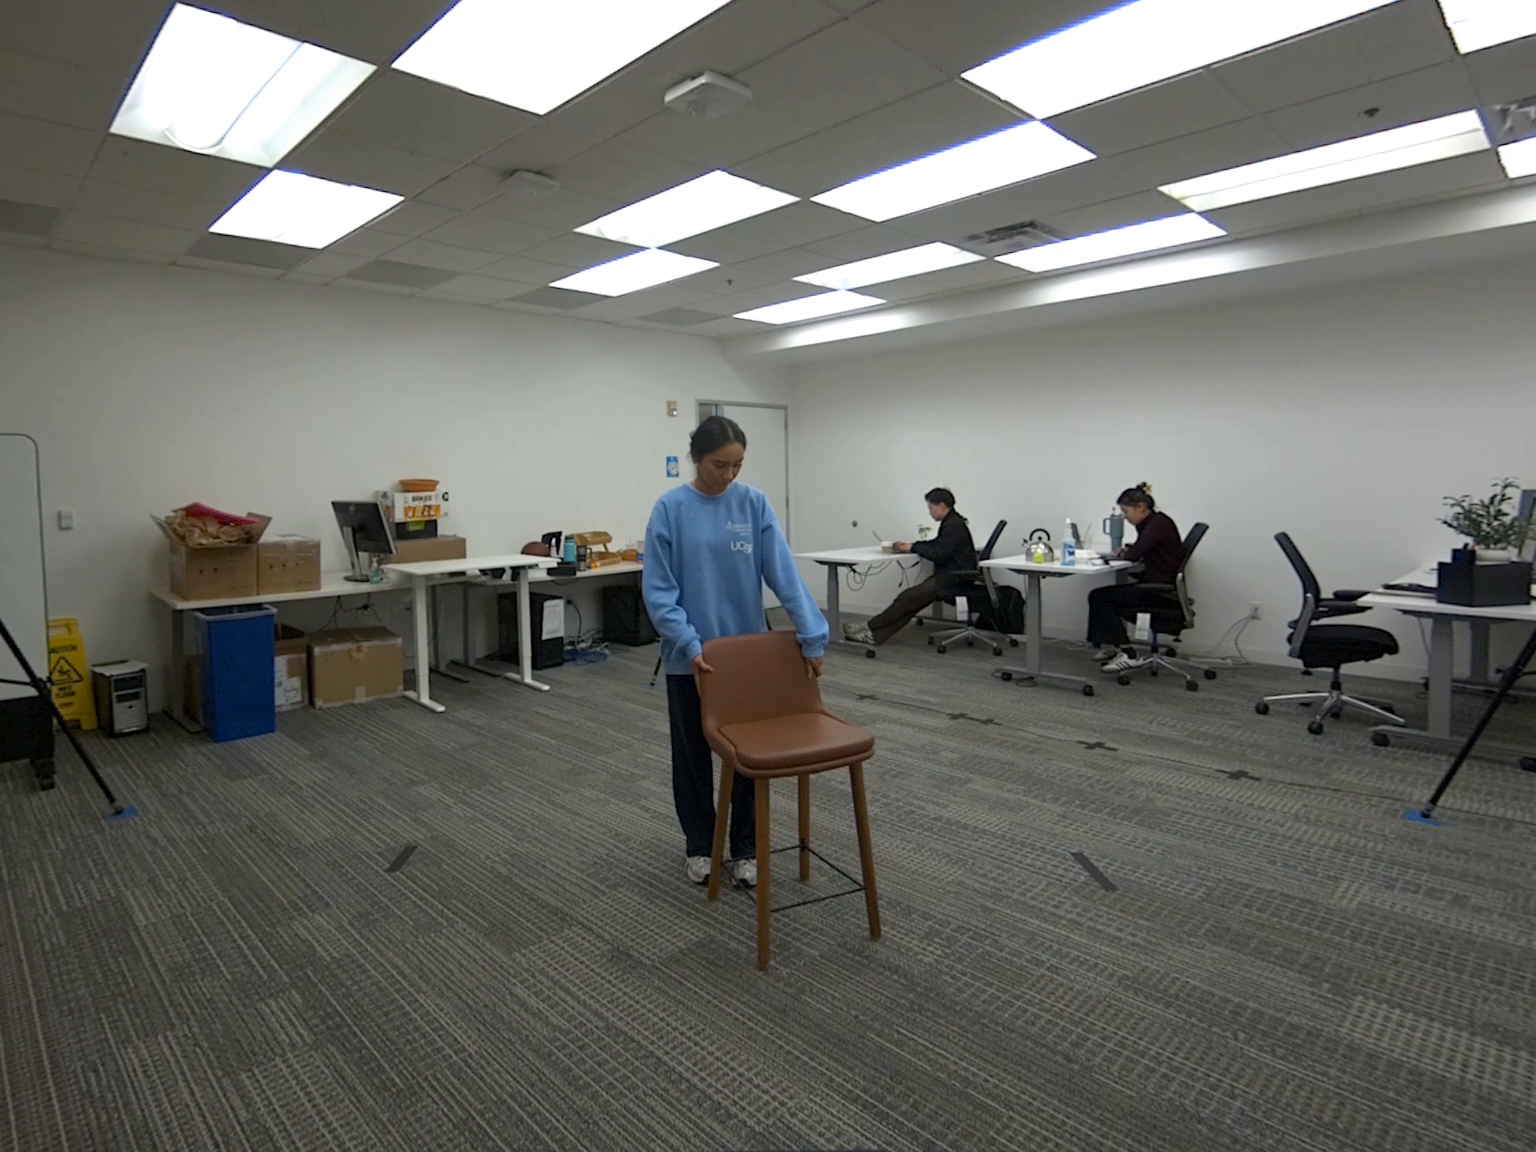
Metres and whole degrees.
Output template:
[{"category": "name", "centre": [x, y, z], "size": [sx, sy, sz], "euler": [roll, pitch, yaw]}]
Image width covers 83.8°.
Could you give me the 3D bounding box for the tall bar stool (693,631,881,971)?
[{"category": "tall bar stool", "centre": [0.059, 0.652, 2.692], "size": [0.447, 0.889, 0.478], "euler": [-3, 2, -24]}]
